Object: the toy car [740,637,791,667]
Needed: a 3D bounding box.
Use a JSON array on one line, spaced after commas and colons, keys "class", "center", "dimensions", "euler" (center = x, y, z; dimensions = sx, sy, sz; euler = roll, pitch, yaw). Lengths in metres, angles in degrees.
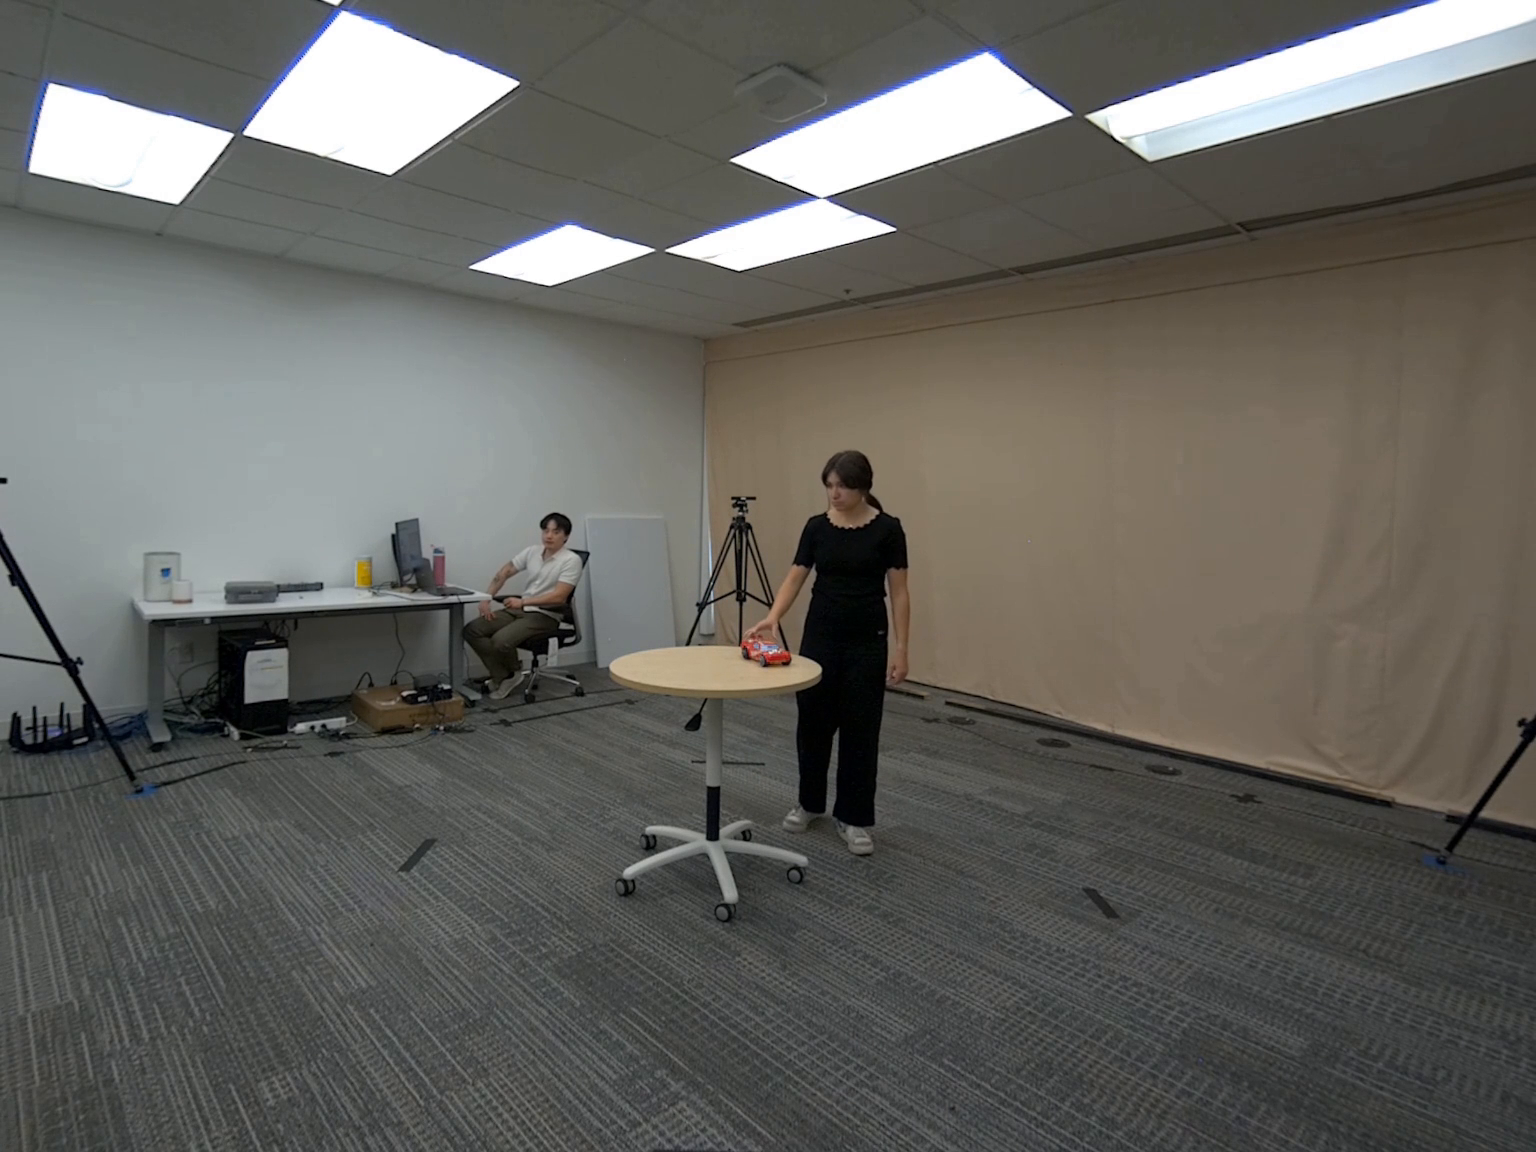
[{"class": "toy car", "center": [-0.029, 0.285, 3.155], "dimensions": [0.128, 0.082, 0.261], "euler": [-2, 18, -24]}]
